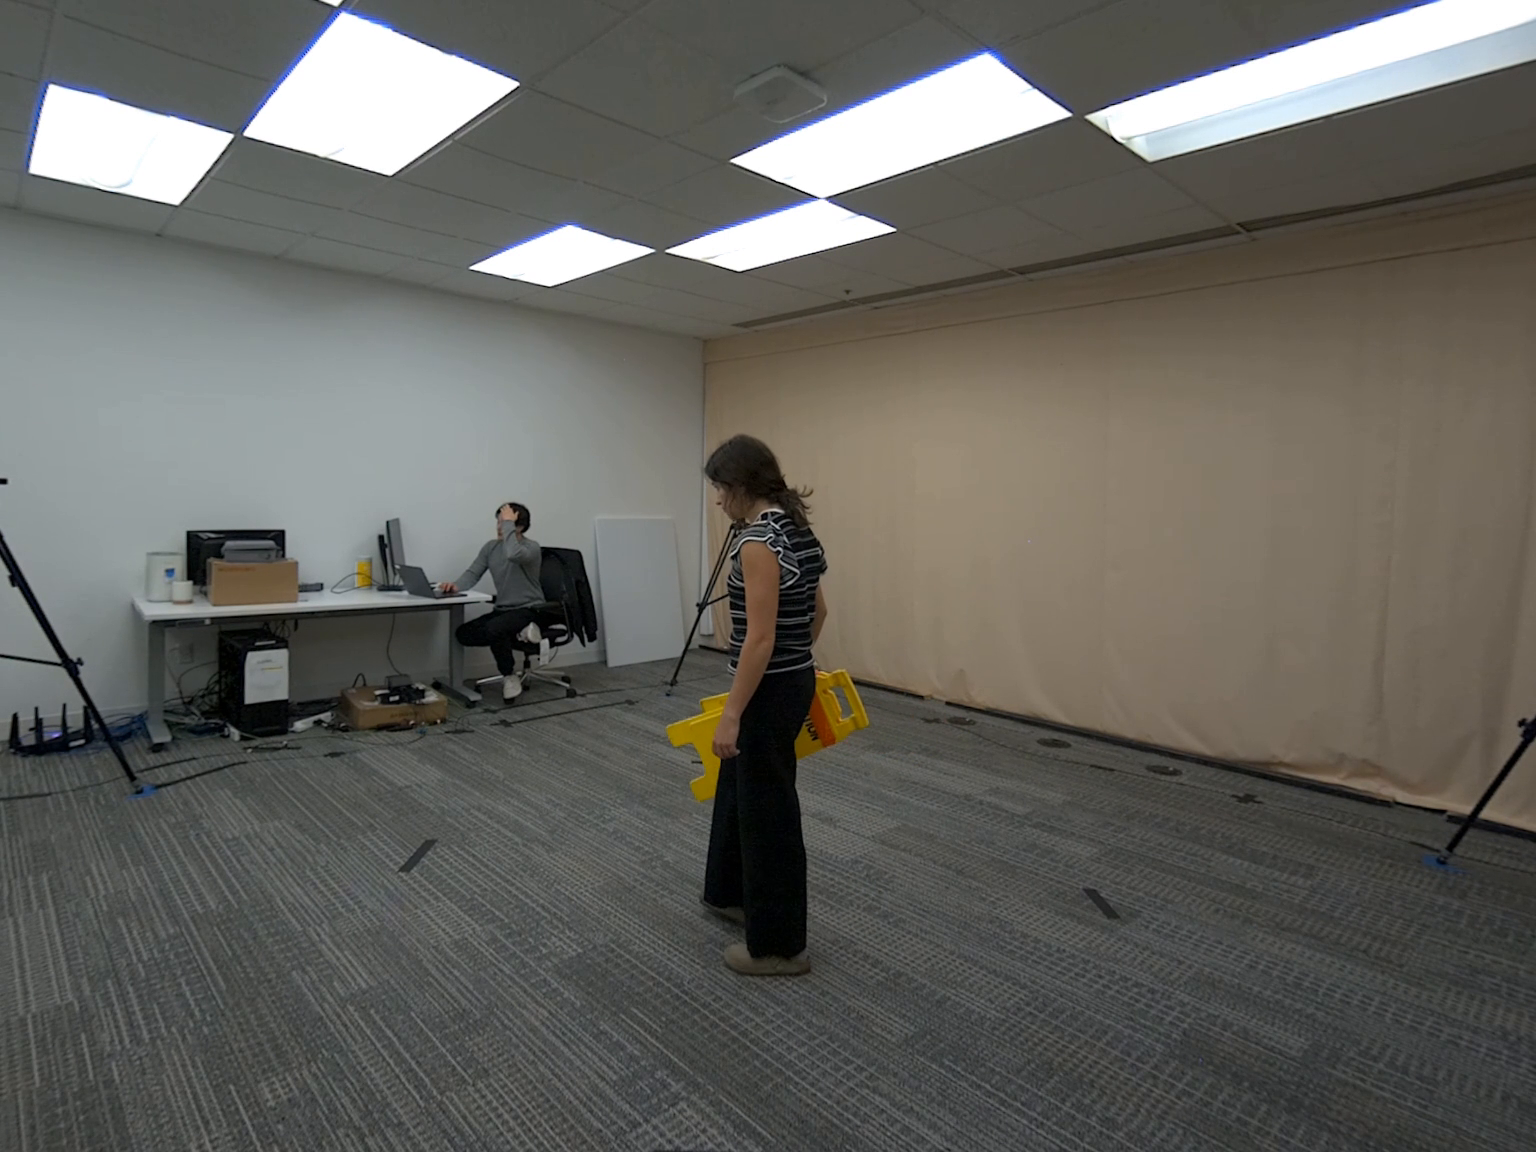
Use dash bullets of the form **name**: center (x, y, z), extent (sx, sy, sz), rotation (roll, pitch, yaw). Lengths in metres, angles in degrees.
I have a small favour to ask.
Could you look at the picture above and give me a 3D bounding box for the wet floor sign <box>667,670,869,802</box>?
- **wet floor sign**: center (0.017, 0.504, 2.839), extent (0.652, 0.282, 0.286), rotation (-24, 0, 26)
